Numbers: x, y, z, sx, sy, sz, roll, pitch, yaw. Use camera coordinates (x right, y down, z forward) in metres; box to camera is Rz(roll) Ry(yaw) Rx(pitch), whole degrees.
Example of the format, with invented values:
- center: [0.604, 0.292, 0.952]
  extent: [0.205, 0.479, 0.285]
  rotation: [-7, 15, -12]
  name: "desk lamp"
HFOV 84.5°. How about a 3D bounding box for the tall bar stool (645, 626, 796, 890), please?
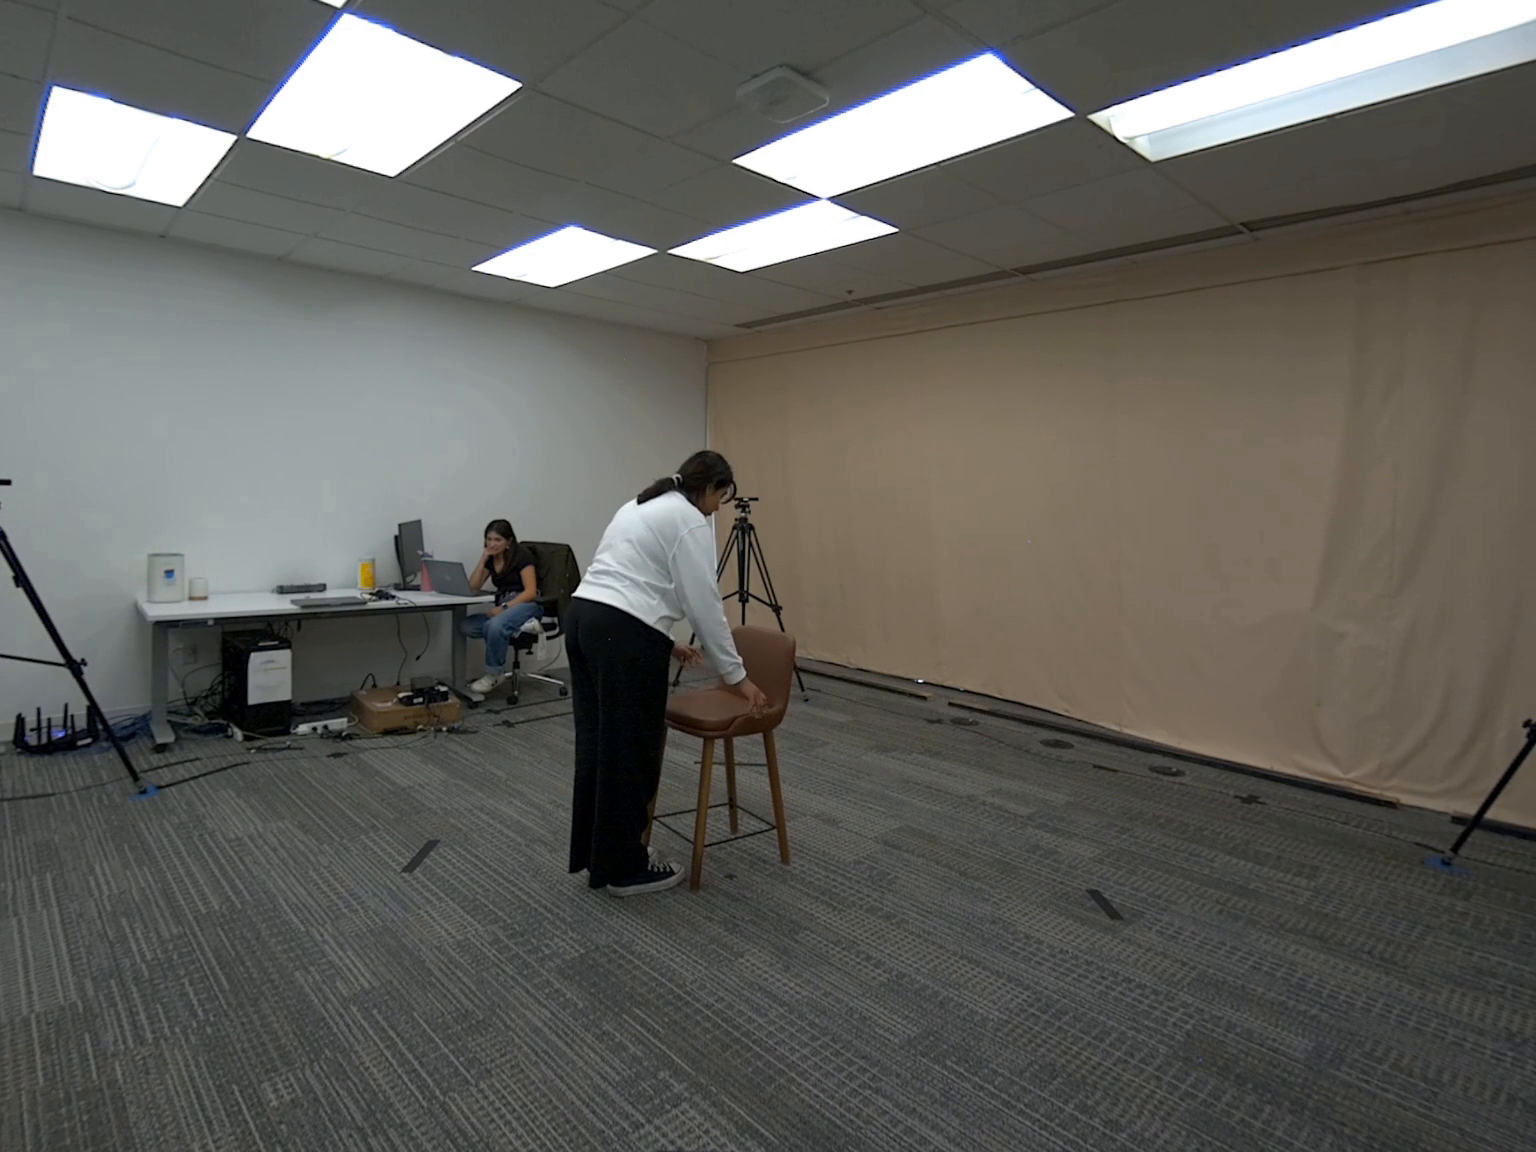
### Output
- center: [-0.199, 0.656, 3.234]
  extent: [0.457, 0.888, 0.467]
  rotation: [1, 3, -36]
  name: "tall bar stool"
